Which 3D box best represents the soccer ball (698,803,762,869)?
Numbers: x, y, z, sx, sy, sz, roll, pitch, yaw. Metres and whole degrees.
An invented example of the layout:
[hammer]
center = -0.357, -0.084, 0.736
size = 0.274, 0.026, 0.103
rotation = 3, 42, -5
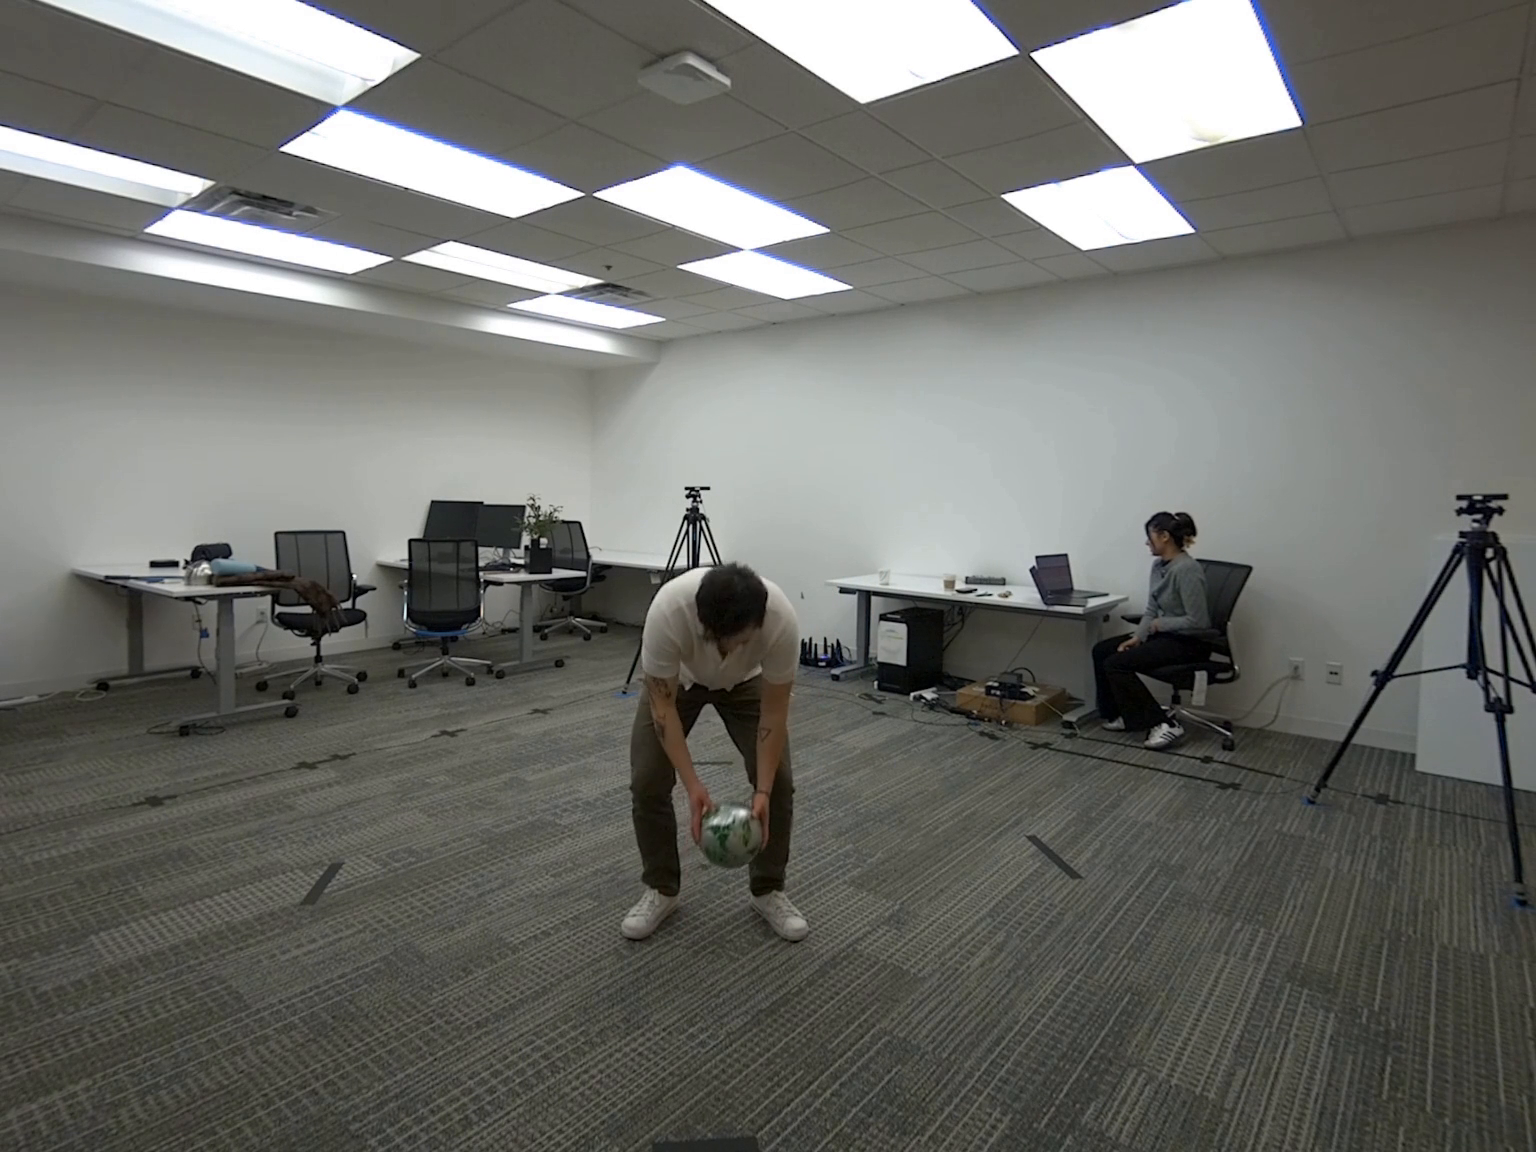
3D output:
[soccer ball]
center = -0.110, 0.737, 2.439
size = 0.187, 0.187, 0.188
rotation = 1, 4, -2
